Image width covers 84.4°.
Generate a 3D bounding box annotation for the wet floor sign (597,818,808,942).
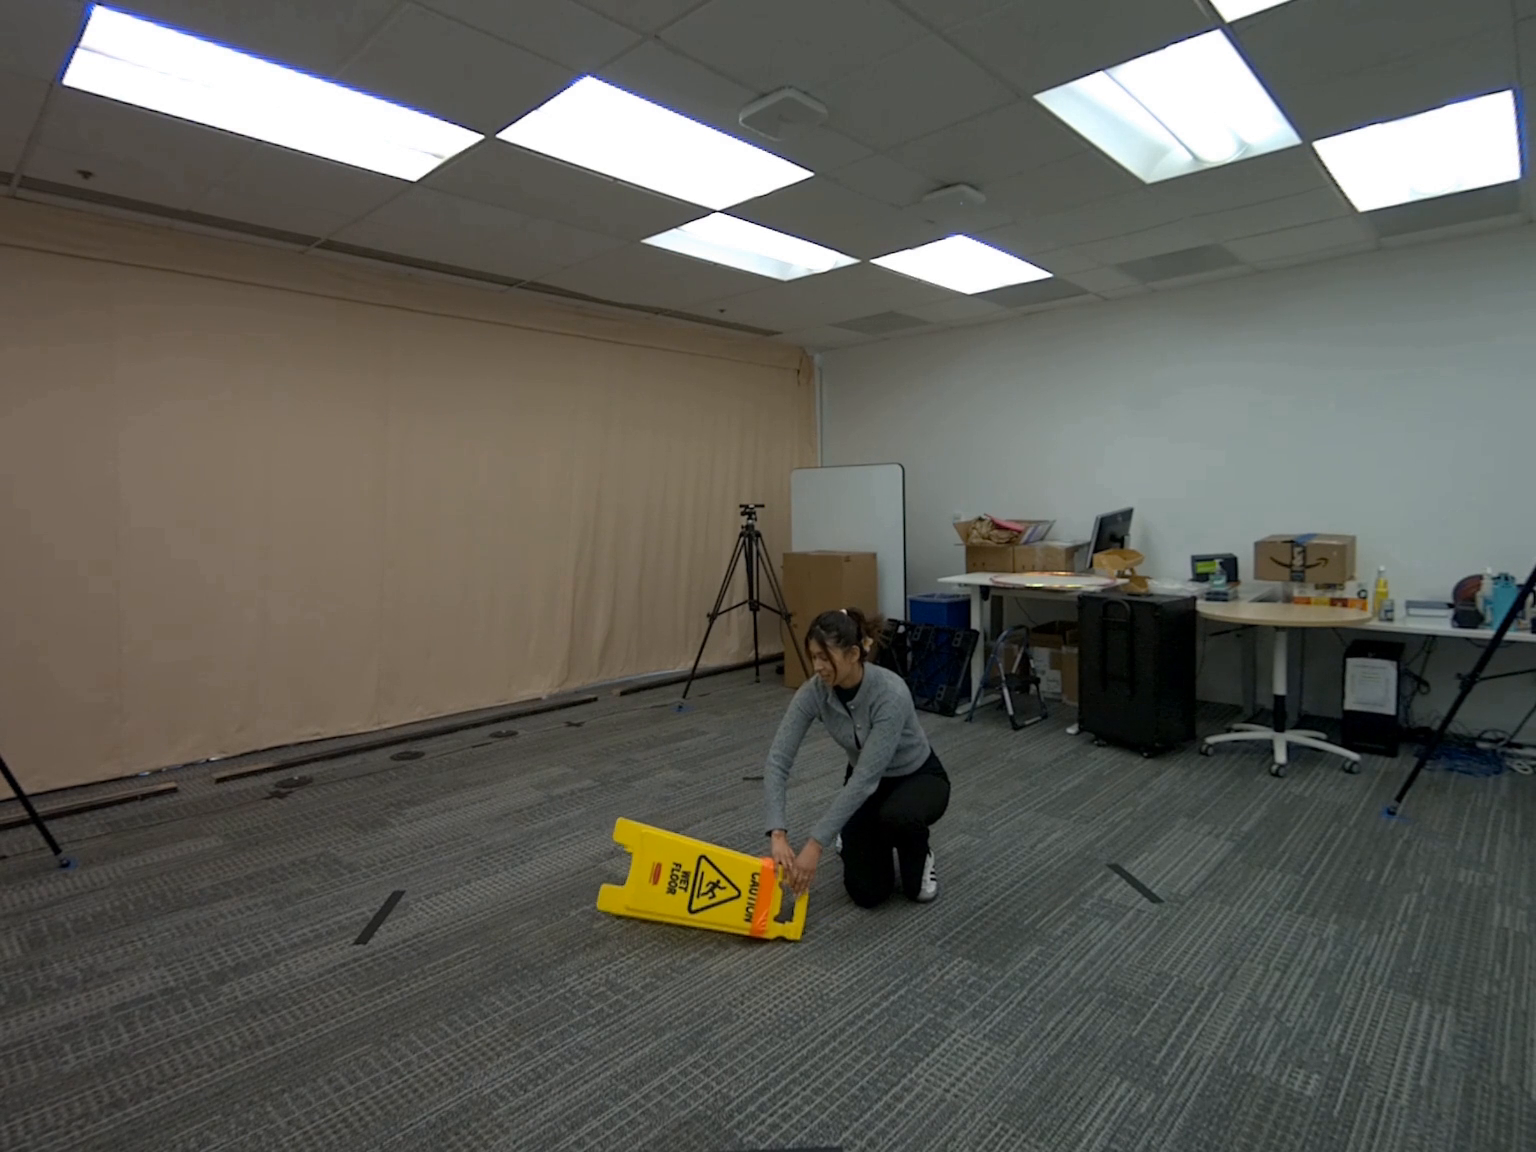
[{"bbox_3d":[-0.197,1.022,2.749,0.651,0.285,0.285,9,-24,6],"label":"wet floor sign"}]
